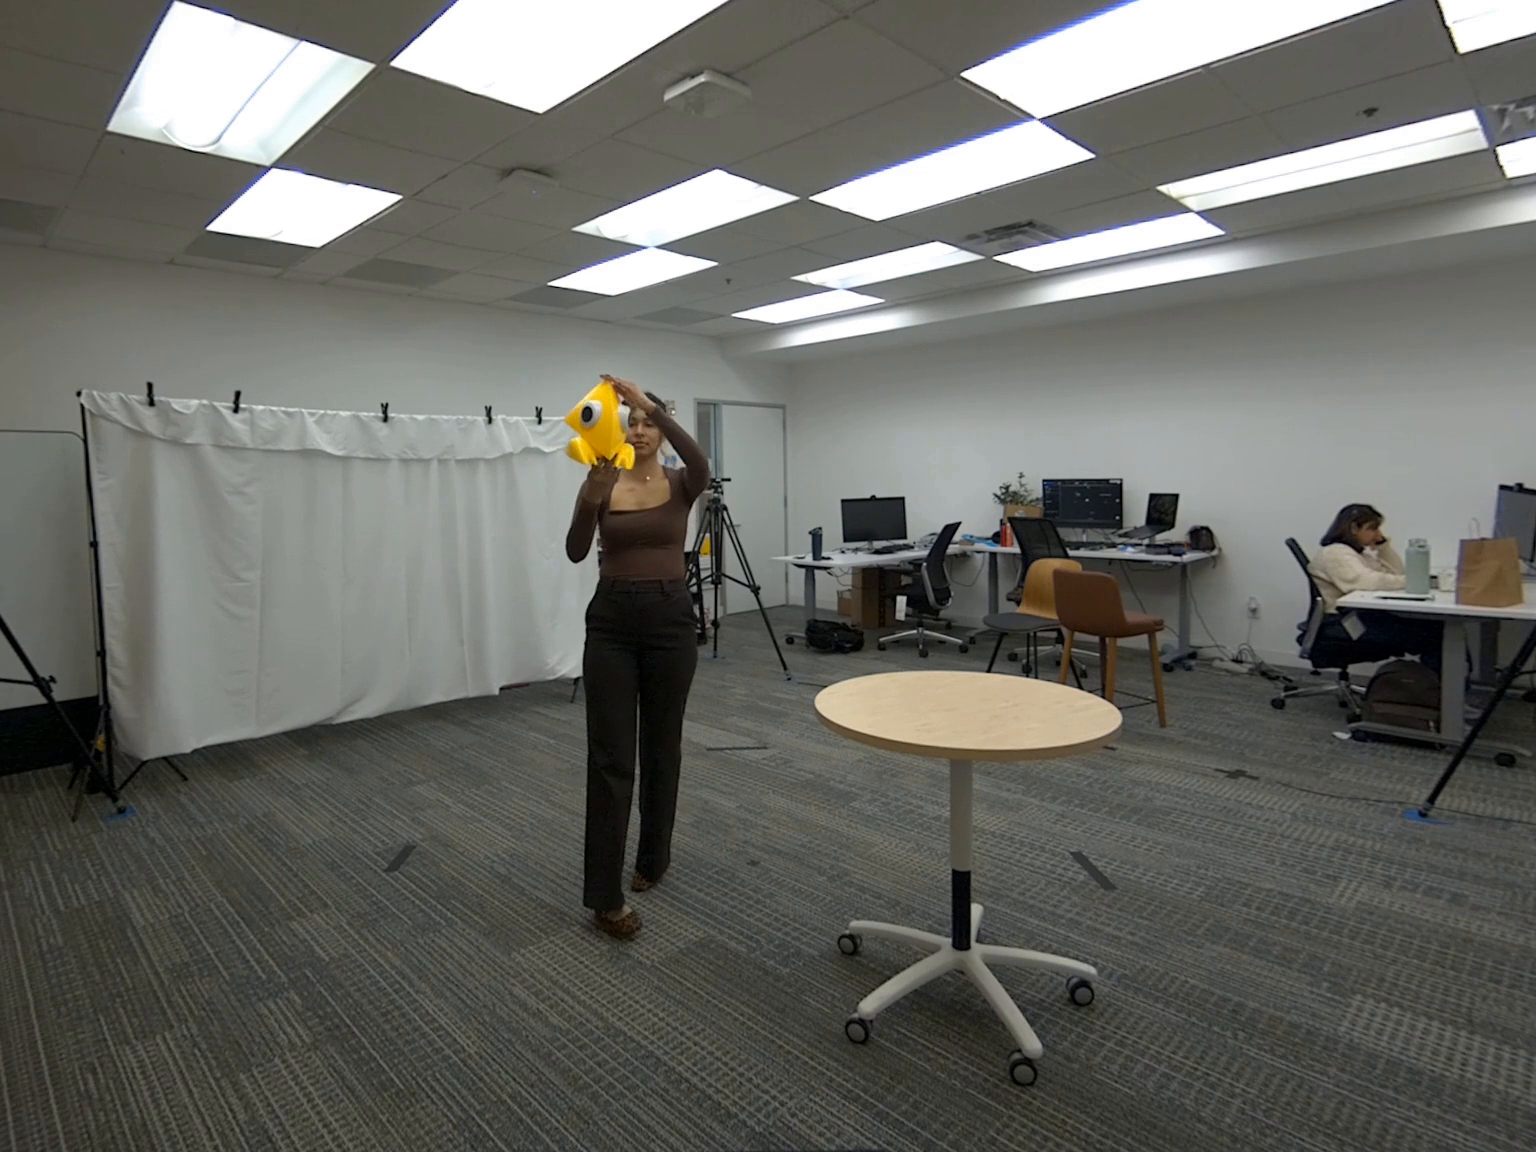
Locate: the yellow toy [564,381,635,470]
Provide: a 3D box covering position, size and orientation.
[{"bbox_3d":[-0.476,-0.453,2.499,0.199,0.228,0.200,4,20,-29],"label":"yellow toy"}]
